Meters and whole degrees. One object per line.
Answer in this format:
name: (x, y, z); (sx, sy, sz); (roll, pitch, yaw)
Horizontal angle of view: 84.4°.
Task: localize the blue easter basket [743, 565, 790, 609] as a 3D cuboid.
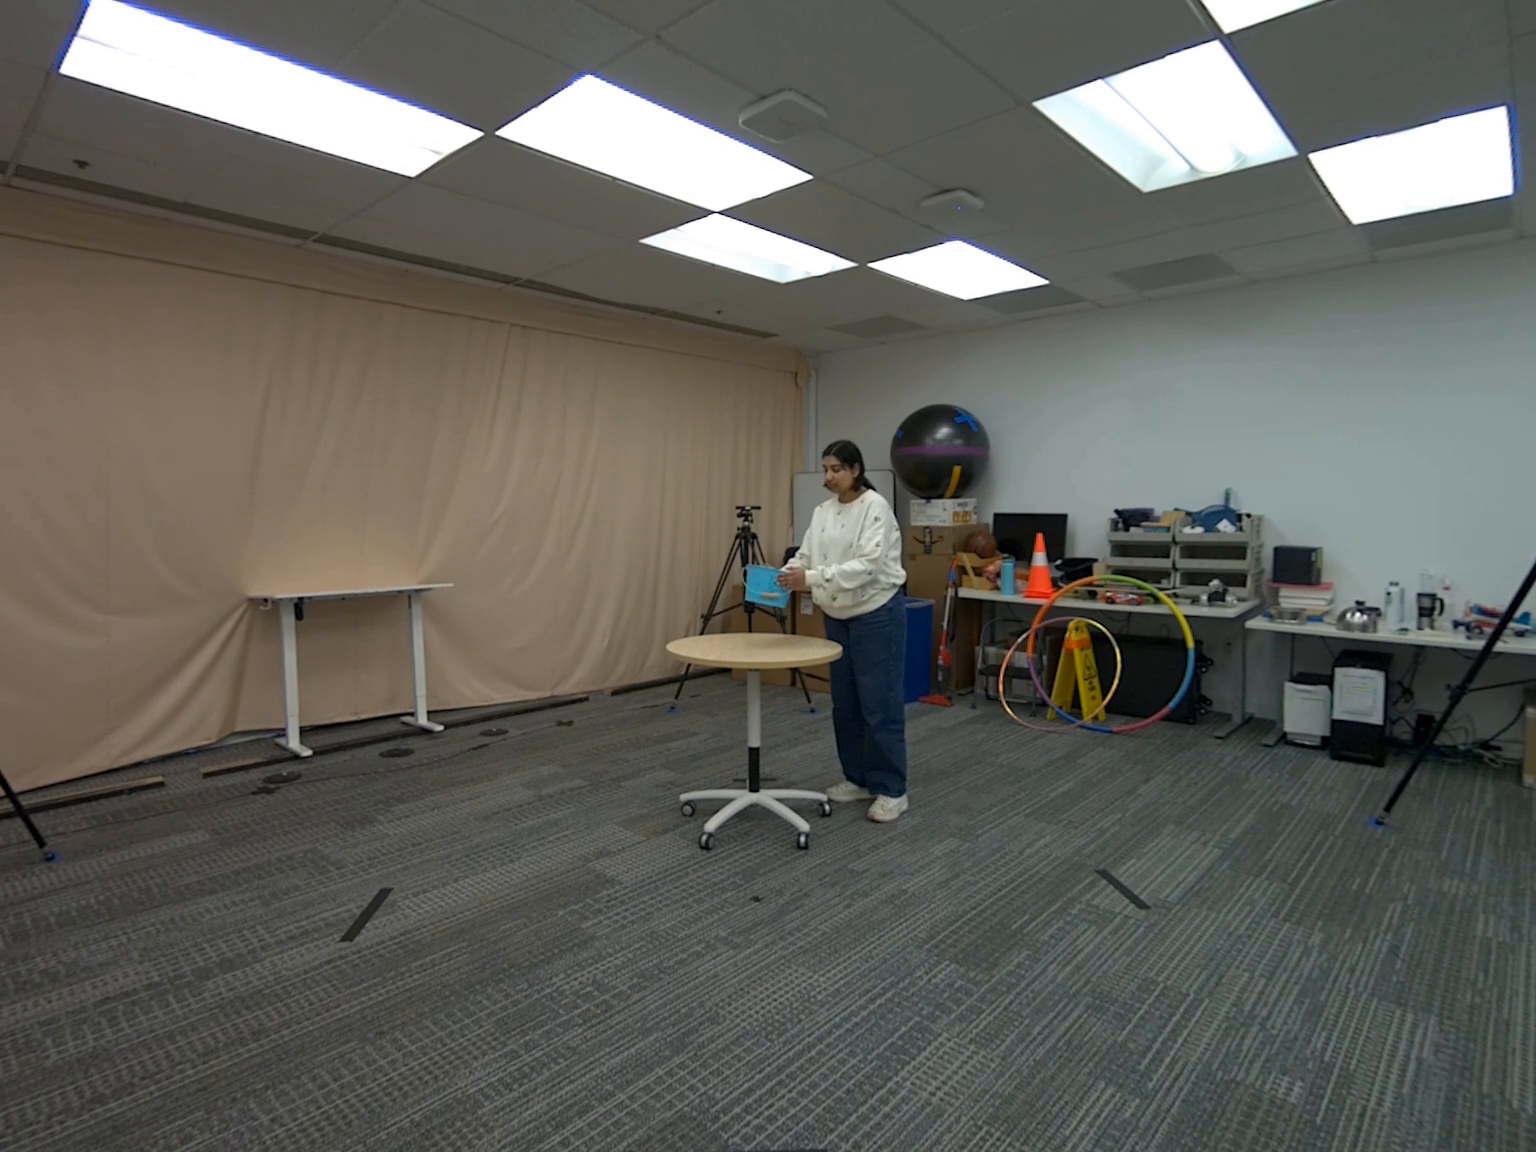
blue easter basket: (0.000, 0.056, 3.704); (0.244, 0.156, 0.243); (10, -4, -1)
